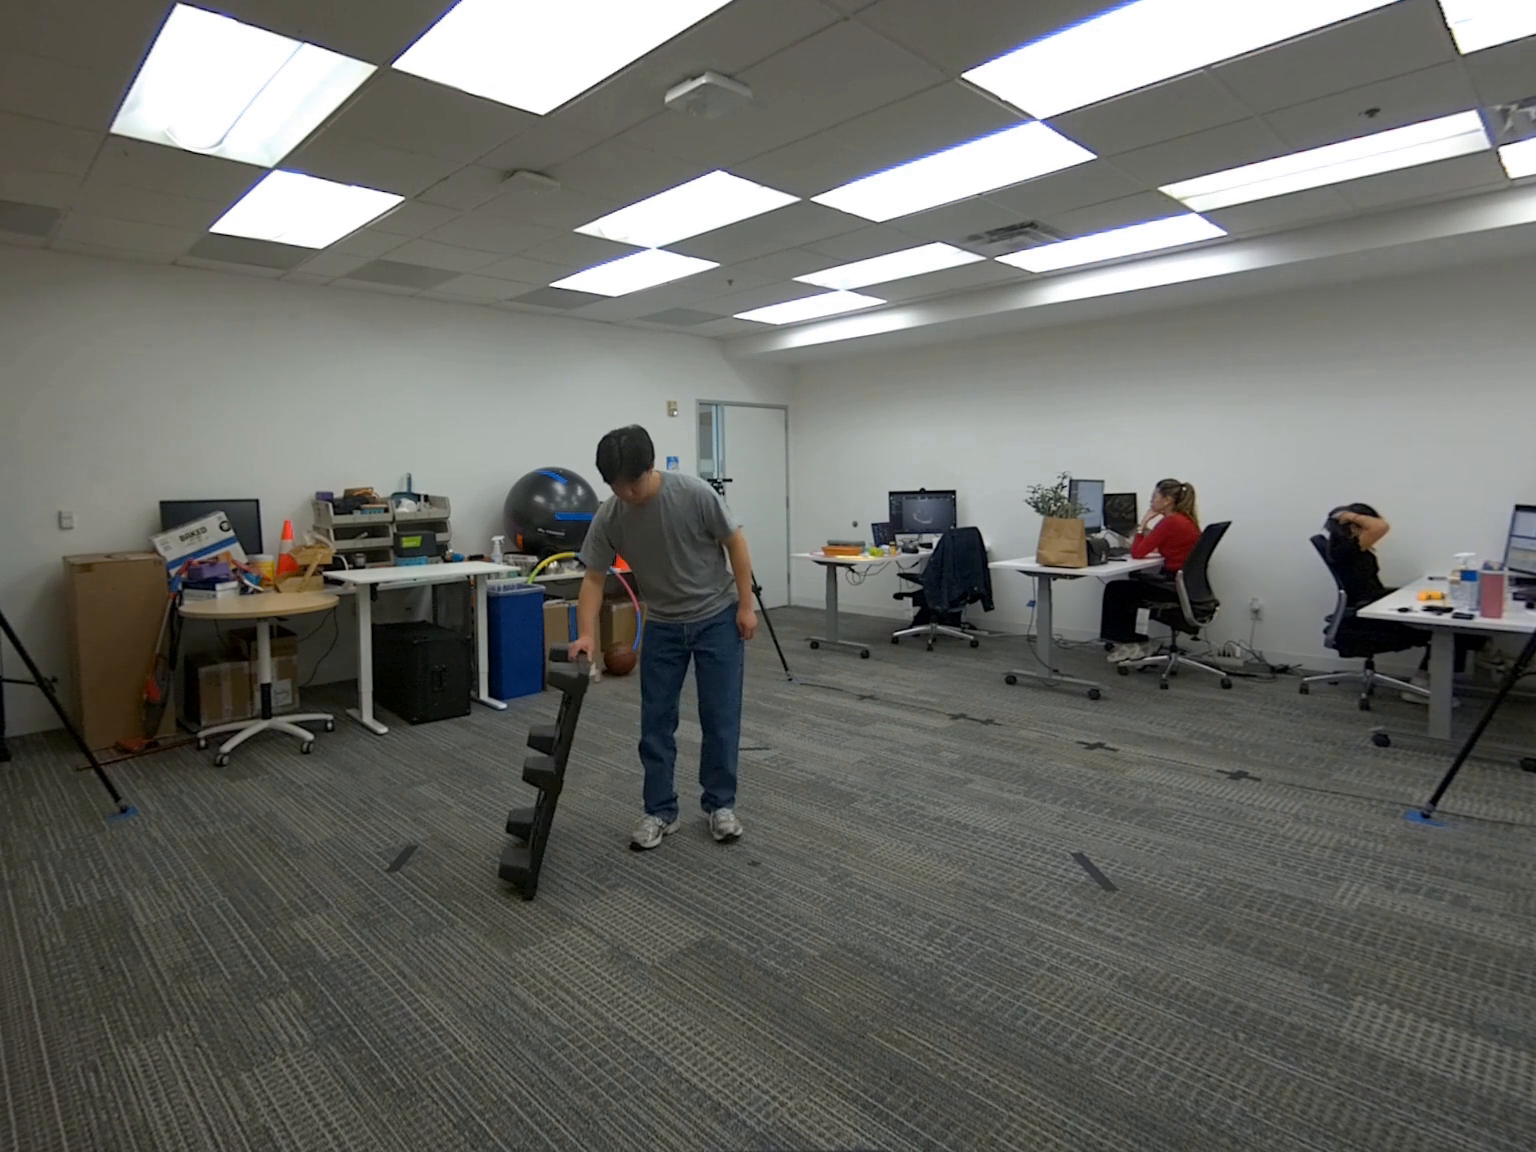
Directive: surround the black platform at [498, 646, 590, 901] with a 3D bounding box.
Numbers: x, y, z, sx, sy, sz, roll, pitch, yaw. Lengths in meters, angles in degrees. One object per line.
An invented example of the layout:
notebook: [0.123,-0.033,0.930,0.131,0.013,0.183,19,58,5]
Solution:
black platform: [-0.808,0.656,3.149,0.141,0.805,0.613,13,1,-13]
